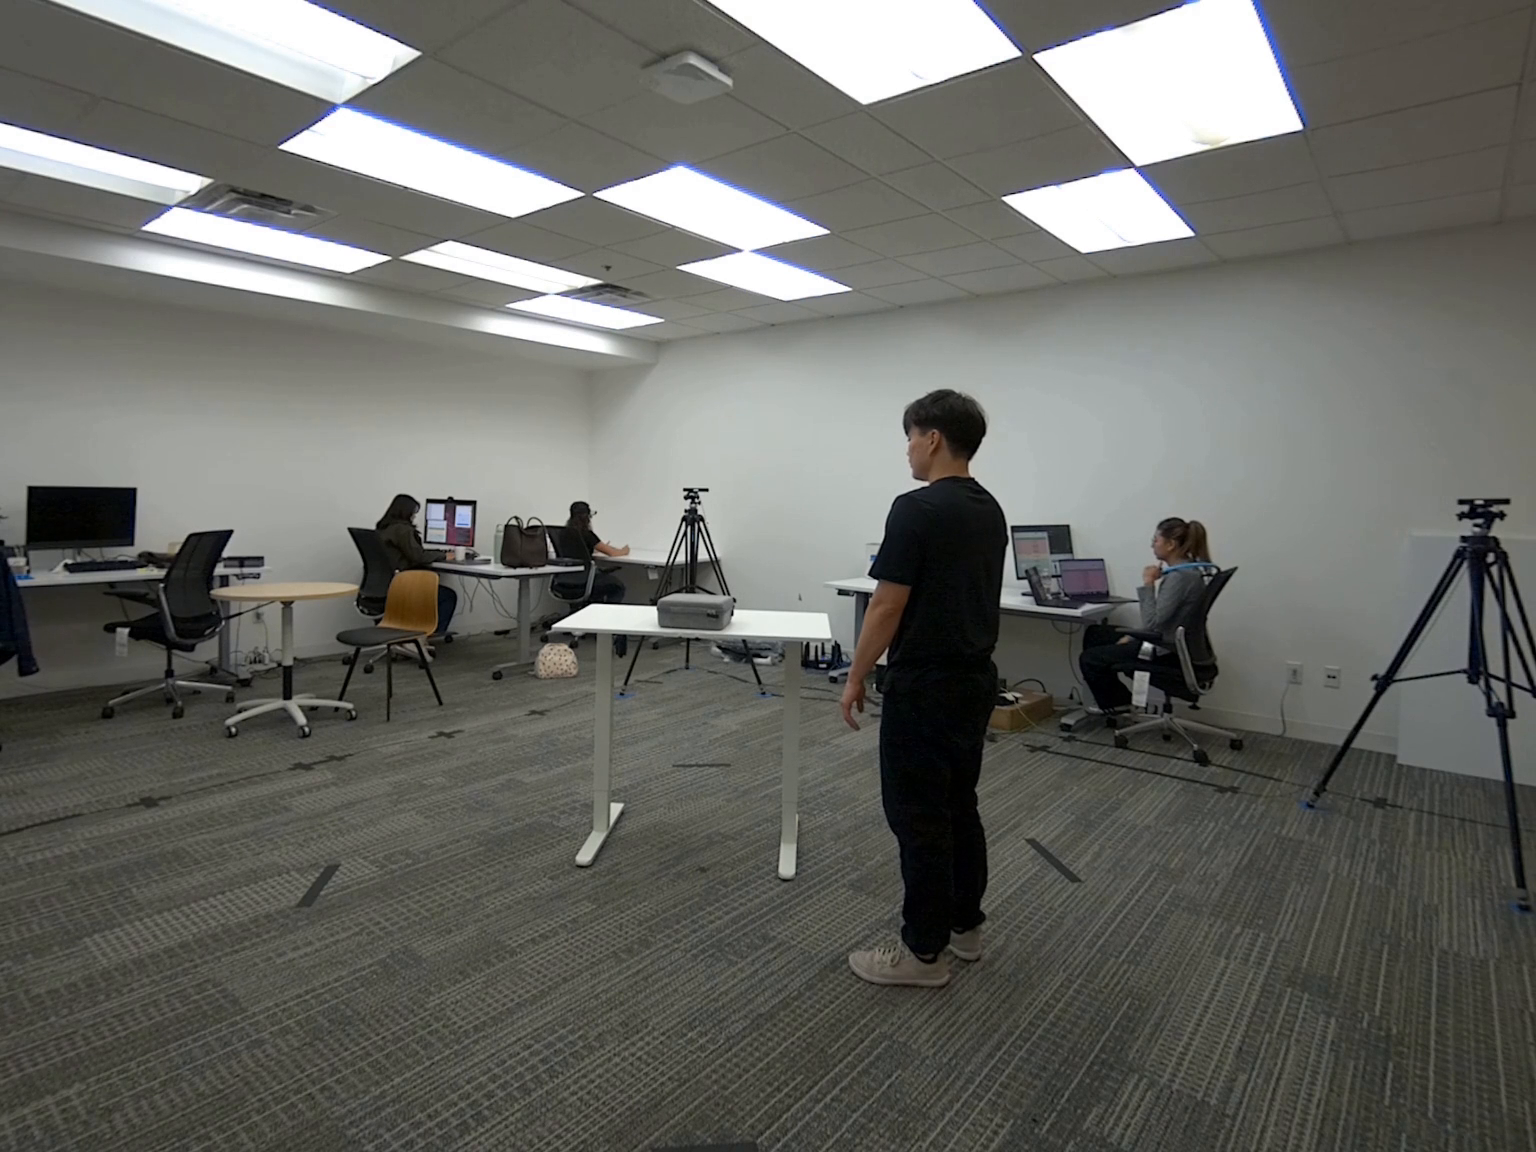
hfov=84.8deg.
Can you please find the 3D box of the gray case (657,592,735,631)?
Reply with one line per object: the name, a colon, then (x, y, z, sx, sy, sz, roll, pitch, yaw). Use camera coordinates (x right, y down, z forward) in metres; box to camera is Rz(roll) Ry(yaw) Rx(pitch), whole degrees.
gray case: (-0.283, 0.125, 3.199, 0.259, 0.104, 0.259, 1, 5, 8)
